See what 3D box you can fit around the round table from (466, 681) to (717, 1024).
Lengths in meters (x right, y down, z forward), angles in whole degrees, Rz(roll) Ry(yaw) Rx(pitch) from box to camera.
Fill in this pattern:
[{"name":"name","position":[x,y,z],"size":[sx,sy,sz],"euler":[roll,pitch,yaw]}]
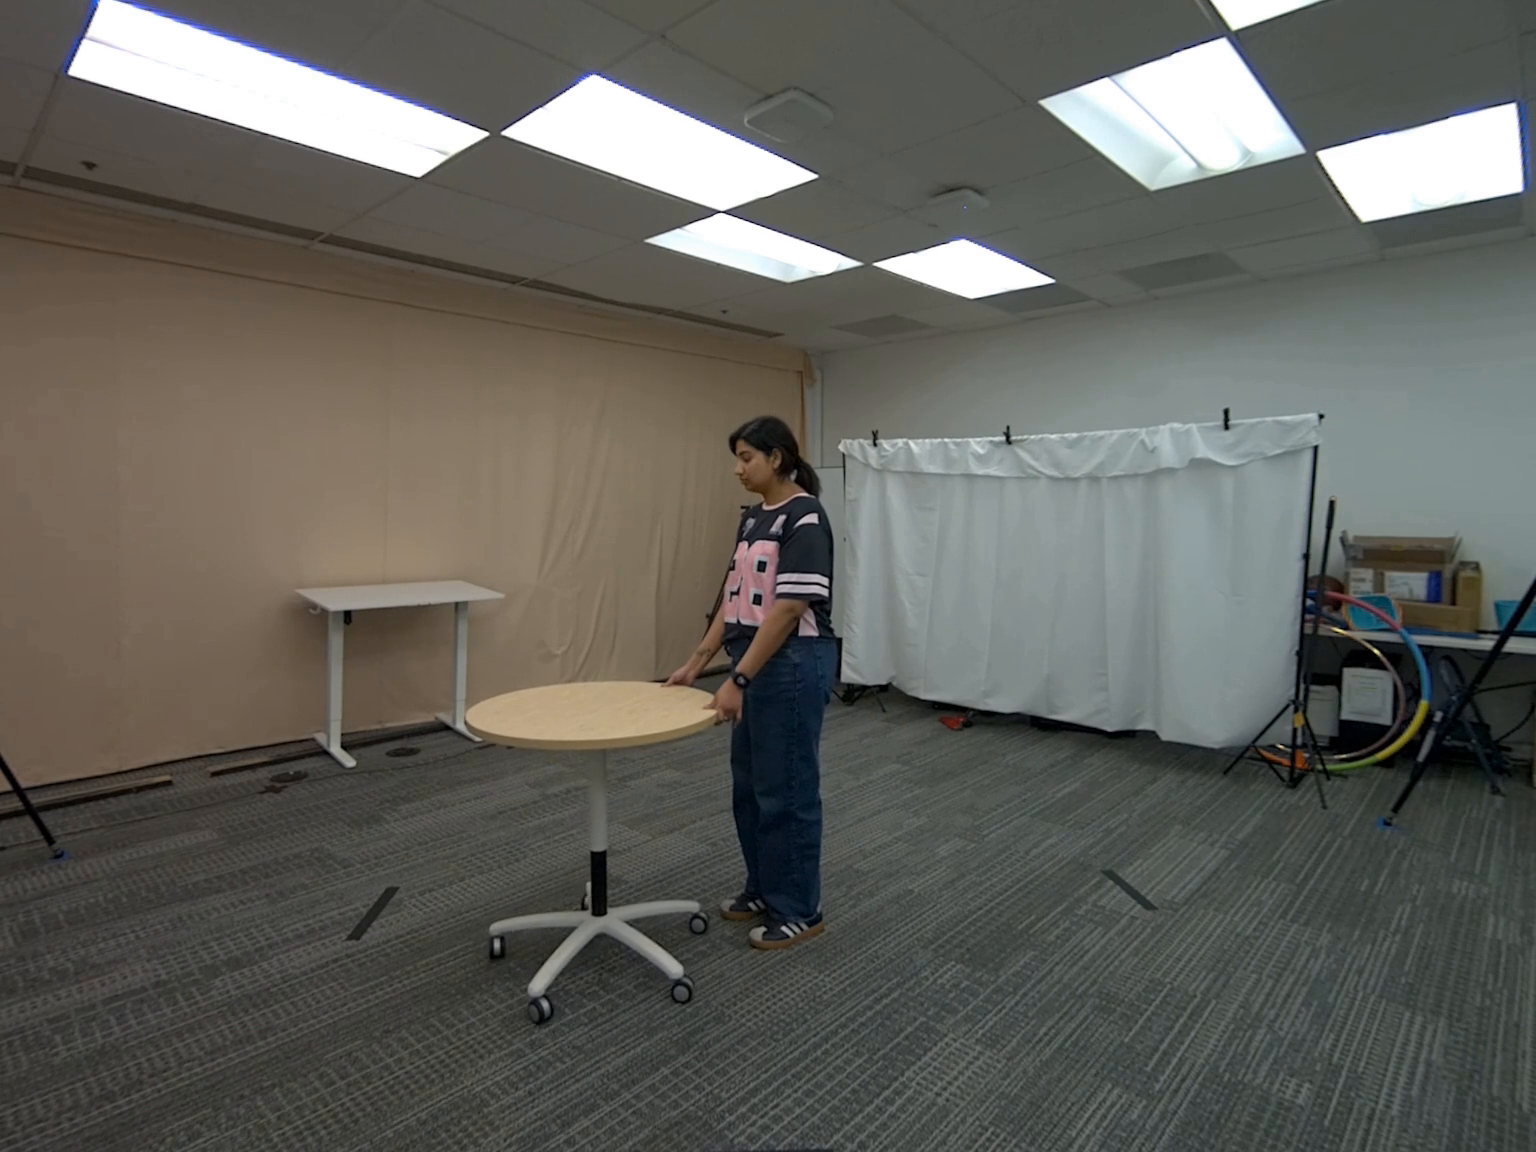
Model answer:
[{"name":"round table","position":[-0.503,0.791,2.579],"size":[0.784,0.785,0.788],"euler":[-1,4,-2]}]
